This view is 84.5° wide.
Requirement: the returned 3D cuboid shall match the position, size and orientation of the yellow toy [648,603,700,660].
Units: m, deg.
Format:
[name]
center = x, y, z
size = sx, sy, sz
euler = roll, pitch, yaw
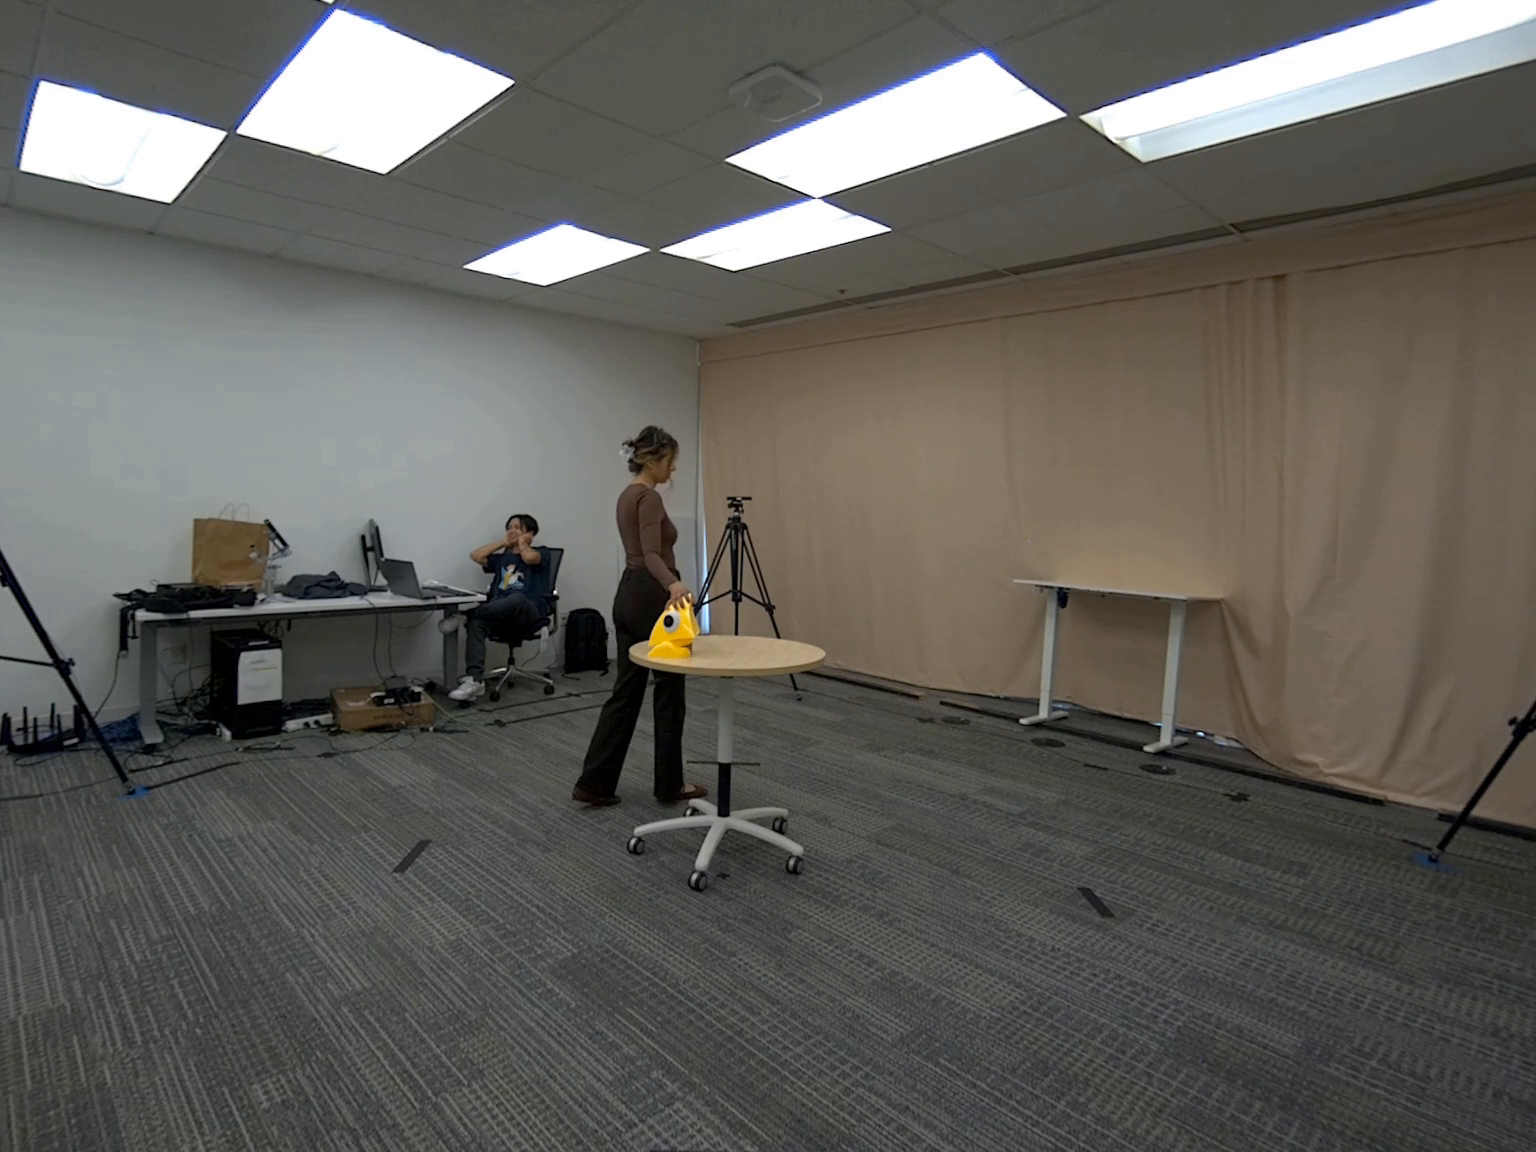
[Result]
[yellow toy]
center = -0.365, 0.183, 3.190
size = 0.193, 0.230, 0.205
euler = 1, 5, 2
